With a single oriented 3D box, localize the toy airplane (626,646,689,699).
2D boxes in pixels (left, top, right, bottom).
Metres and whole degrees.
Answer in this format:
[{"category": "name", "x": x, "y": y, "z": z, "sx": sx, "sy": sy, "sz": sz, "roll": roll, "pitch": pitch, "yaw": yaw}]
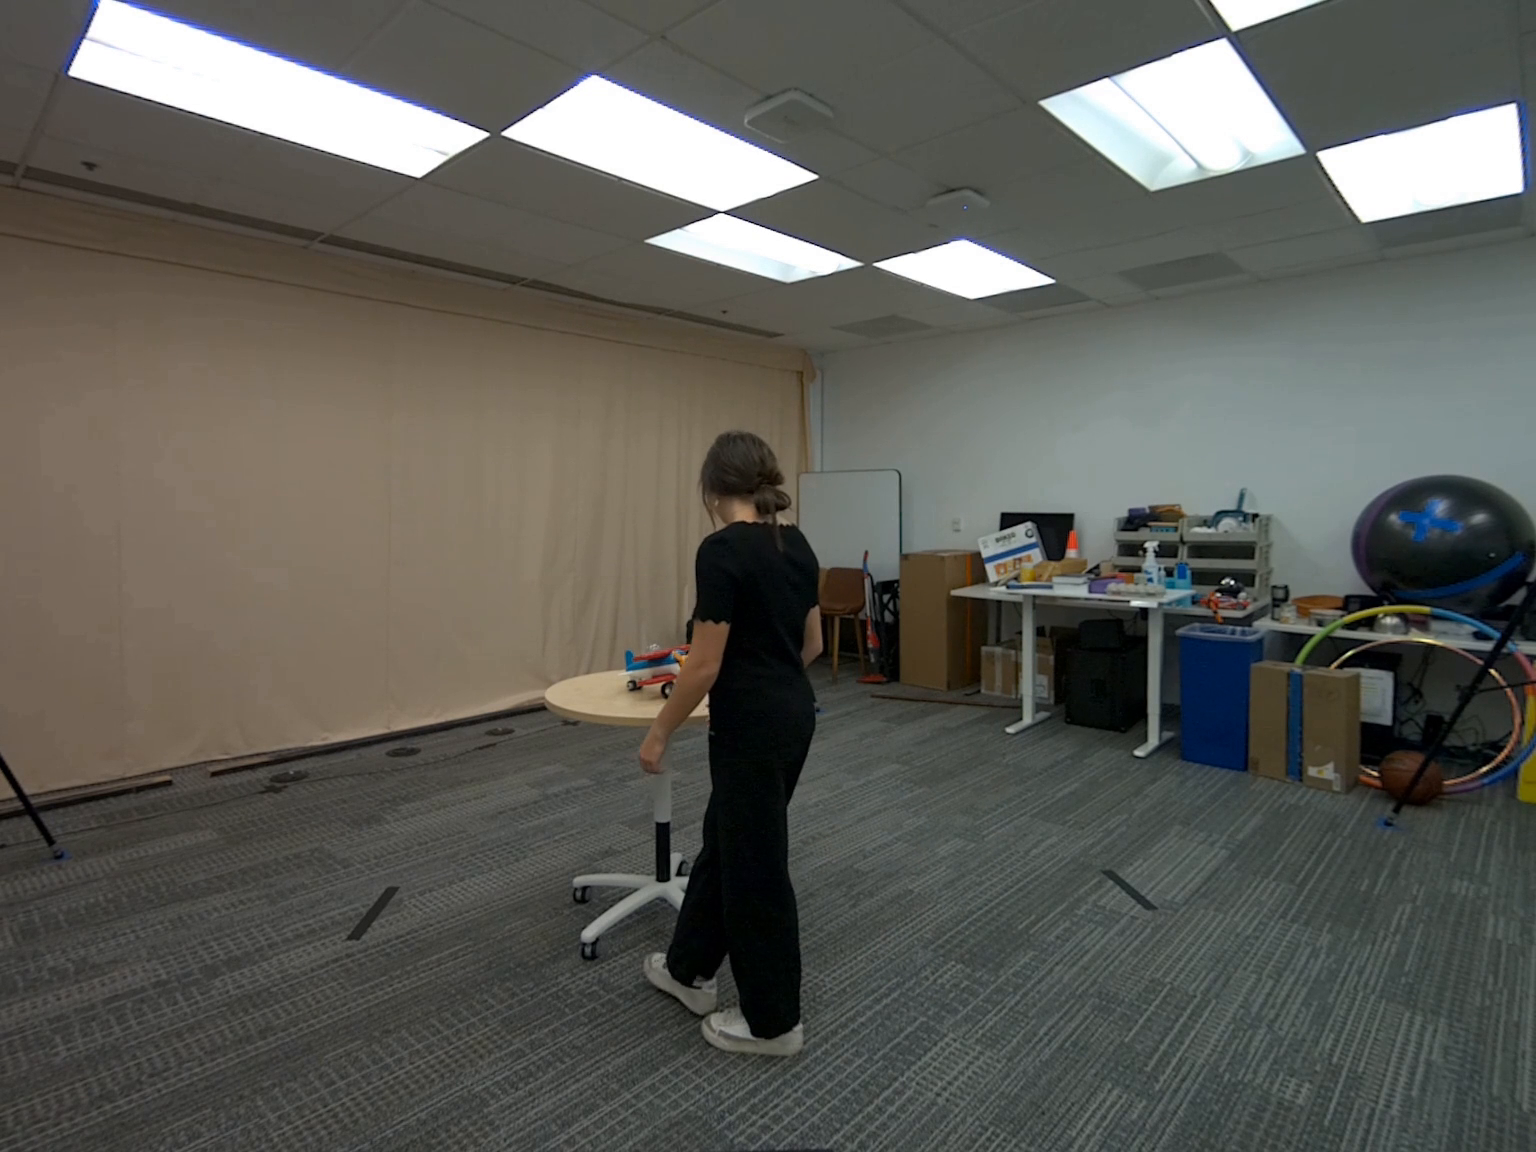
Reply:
[{"category": "toy airplane", "x": -0.360, "y": 0.306, "z": 2.713, "sx": 0.260, "sy": 0.156, "sz": 0.250, "roll": 1, "pitch": 4, "yaw": 4}]
